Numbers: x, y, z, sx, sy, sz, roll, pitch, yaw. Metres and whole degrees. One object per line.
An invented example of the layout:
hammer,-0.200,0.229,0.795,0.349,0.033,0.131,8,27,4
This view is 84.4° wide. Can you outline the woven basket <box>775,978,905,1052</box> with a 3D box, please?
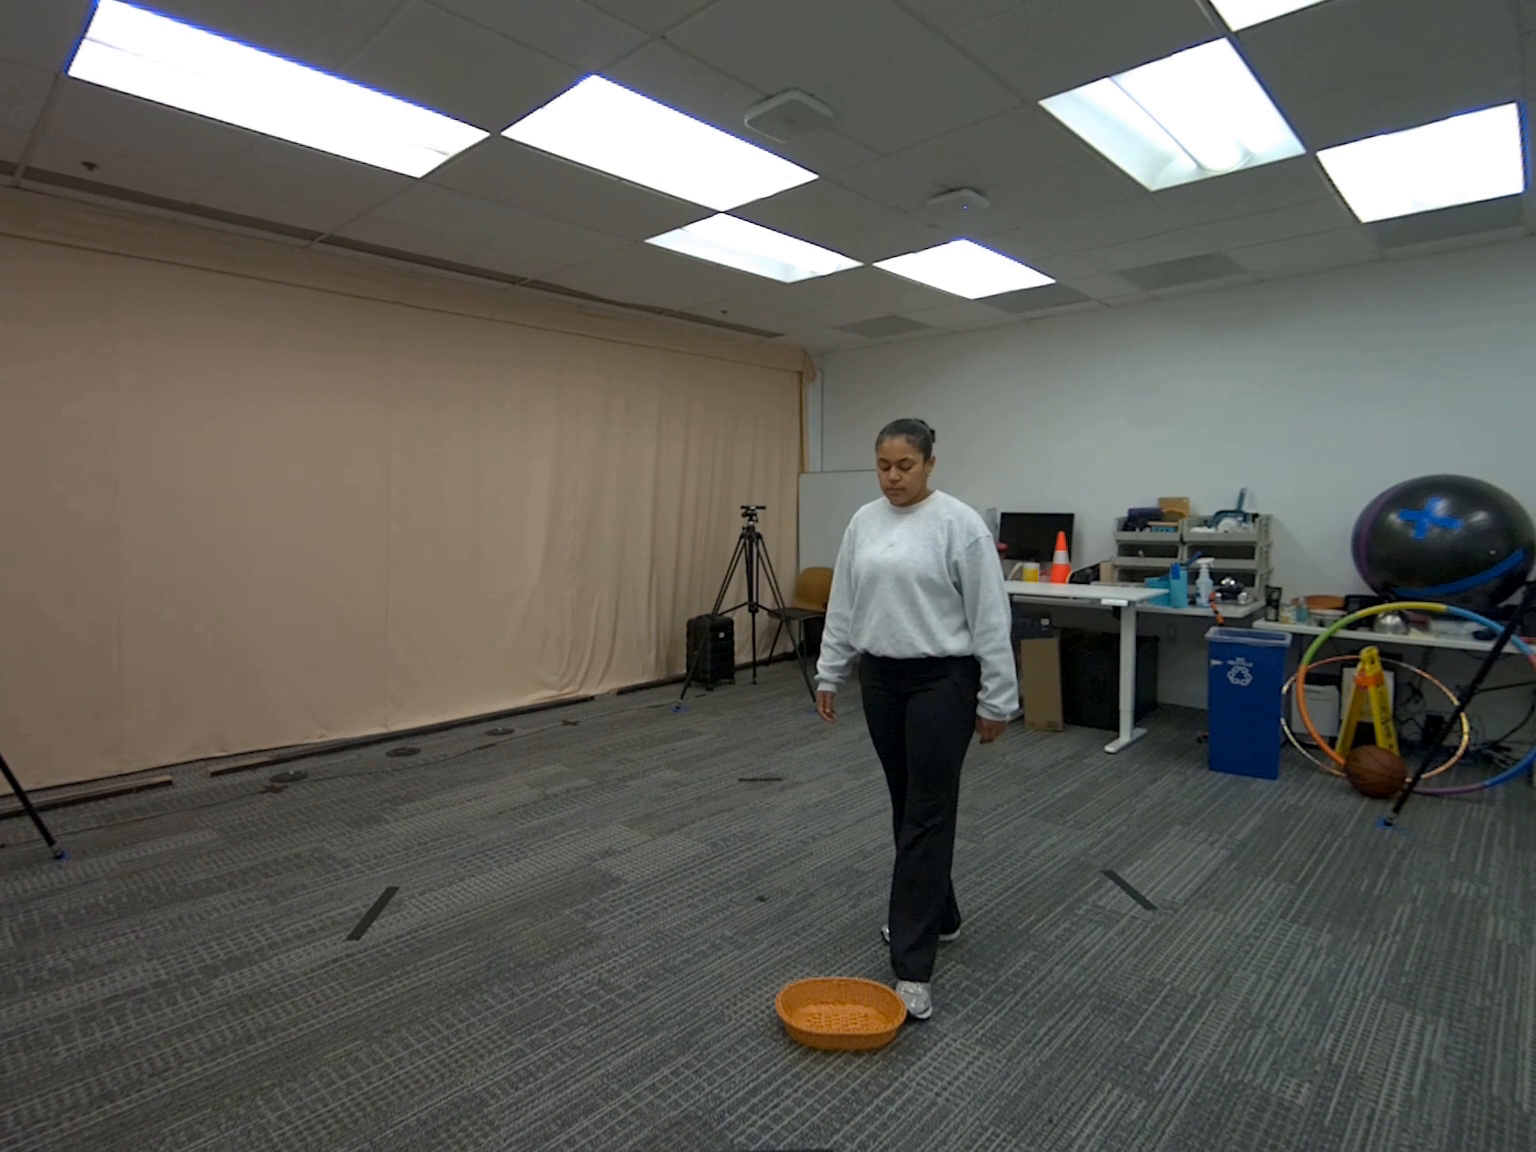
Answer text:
woven basket,0.200,1.168,2.240,0.351,0.073,0.252,0,4,2
